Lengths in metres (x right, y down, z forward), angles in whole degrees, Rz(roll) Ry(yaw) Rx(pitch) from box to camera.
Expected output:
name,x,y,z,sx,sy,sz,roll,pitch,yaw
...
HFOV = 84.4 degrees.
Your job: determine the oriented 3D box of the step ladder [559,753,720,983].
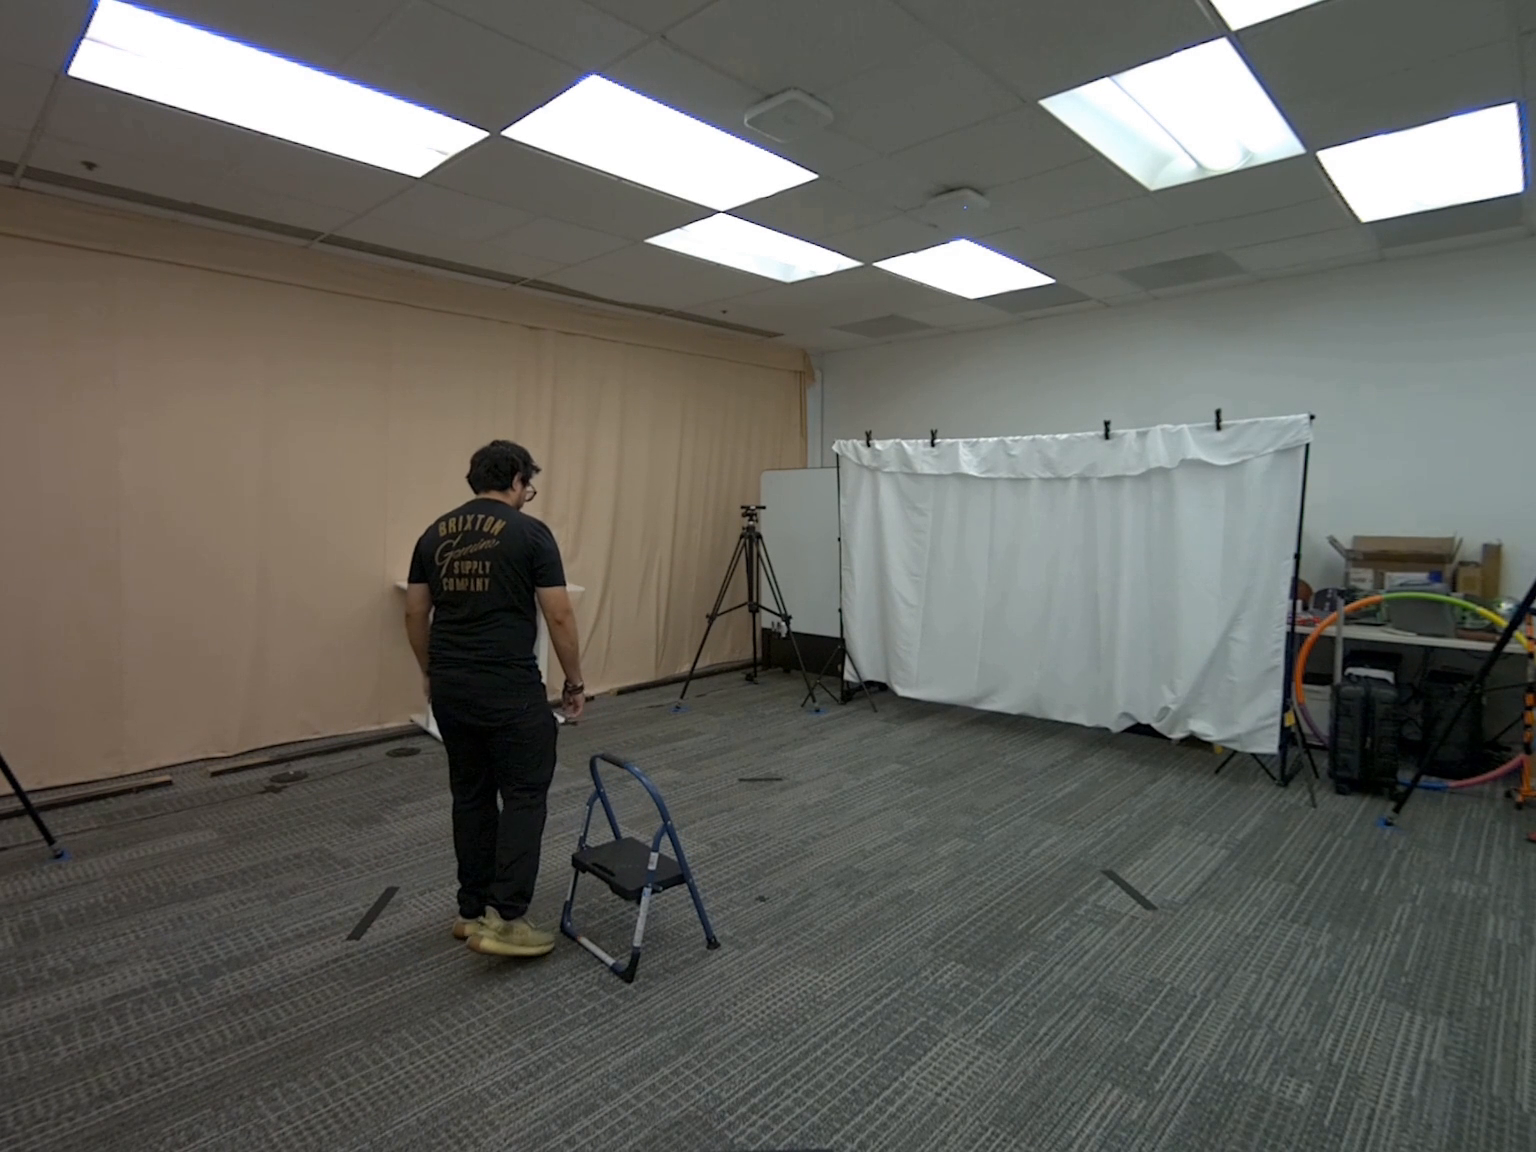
name,x,y,z,sx,sy,sz,roll,pitch,yaw
step ladder,-0.421,0.870,2.698,0.338,0.605,0.445,-3,4,-42
